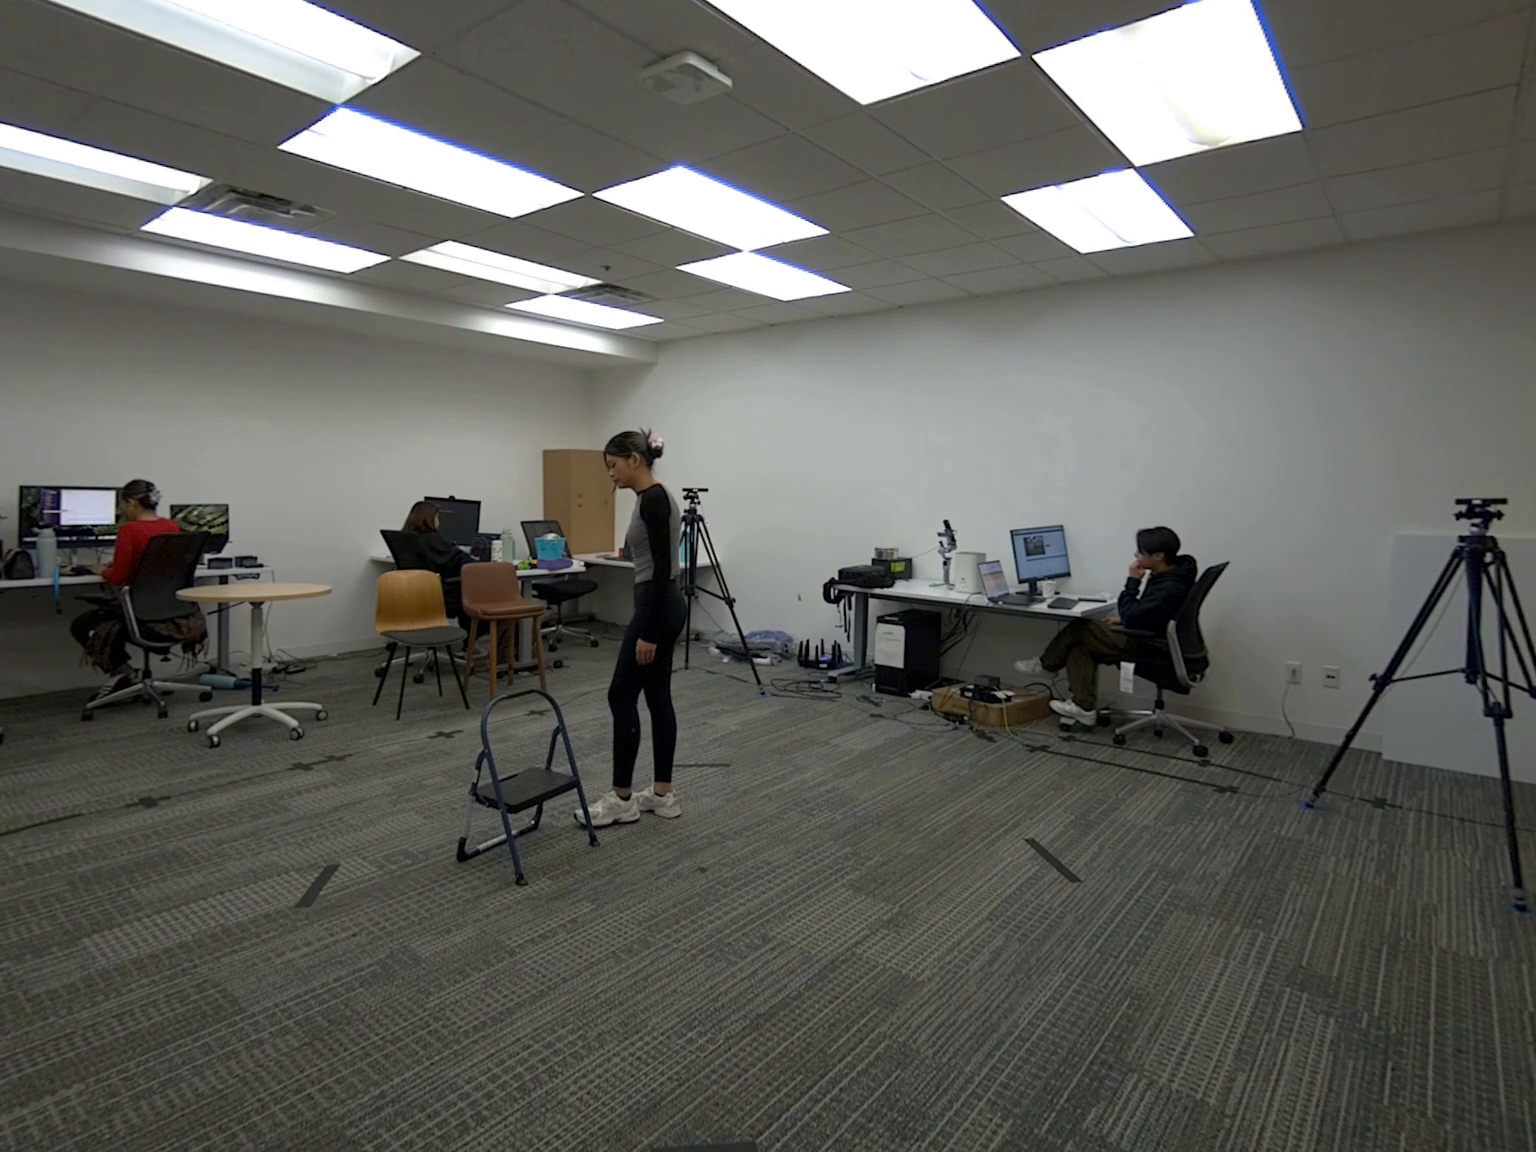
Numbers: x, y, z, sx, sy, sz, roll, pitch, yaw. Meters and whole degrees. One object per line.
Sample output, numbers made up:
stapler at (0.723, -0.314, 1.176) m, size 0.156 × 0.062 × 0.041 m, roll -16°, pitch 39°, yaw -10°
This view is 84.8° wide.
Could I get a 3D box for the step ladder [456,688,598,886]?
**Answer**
step ladder at (-0.910, 0.746, 3.206) m, size 0.359 × 0.604 × 0.419 m, roll 3°, pitch 4°, yaw 30°
